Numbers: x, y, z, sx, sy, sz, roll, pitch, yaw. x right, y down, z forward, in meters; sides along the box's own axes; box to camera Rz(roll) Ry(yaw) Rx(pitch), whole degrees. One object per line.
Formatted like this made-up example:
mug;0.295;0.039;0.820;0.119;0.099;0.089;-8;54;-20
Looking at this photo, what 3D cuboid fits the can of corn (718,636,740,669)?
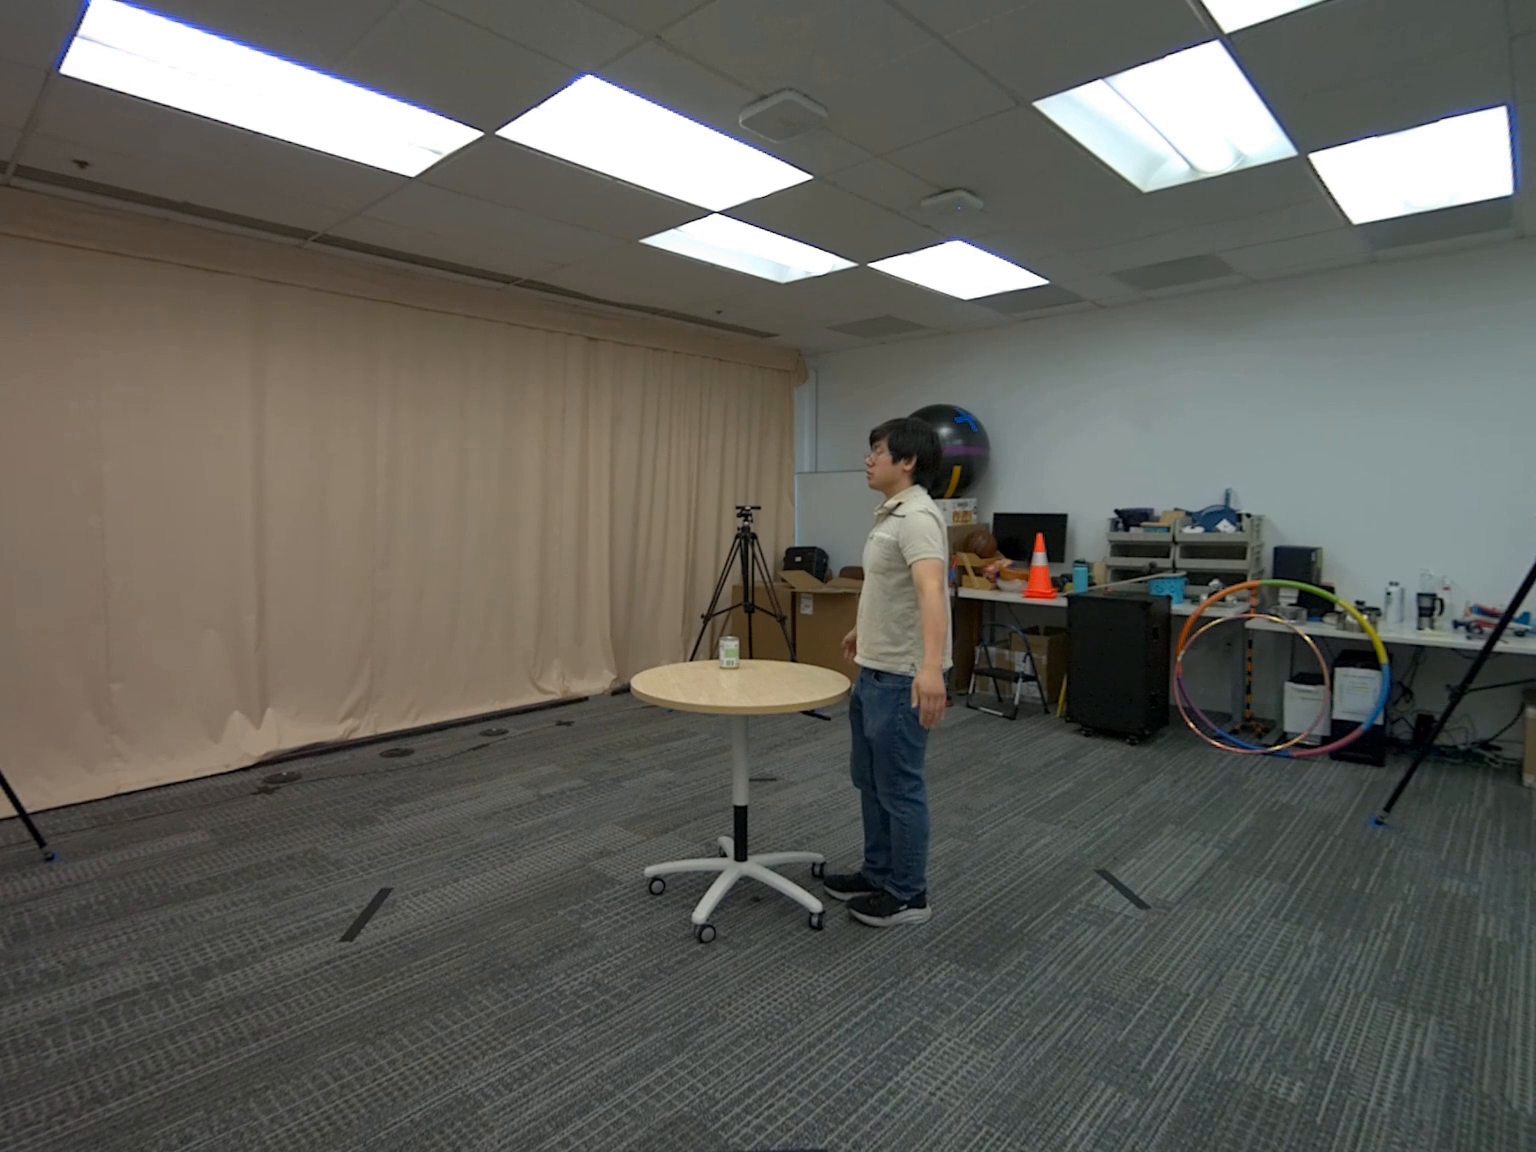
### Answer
can of corn;-0.136;0.289;3.161;0.074;0.111;0.074;0;4;-2
